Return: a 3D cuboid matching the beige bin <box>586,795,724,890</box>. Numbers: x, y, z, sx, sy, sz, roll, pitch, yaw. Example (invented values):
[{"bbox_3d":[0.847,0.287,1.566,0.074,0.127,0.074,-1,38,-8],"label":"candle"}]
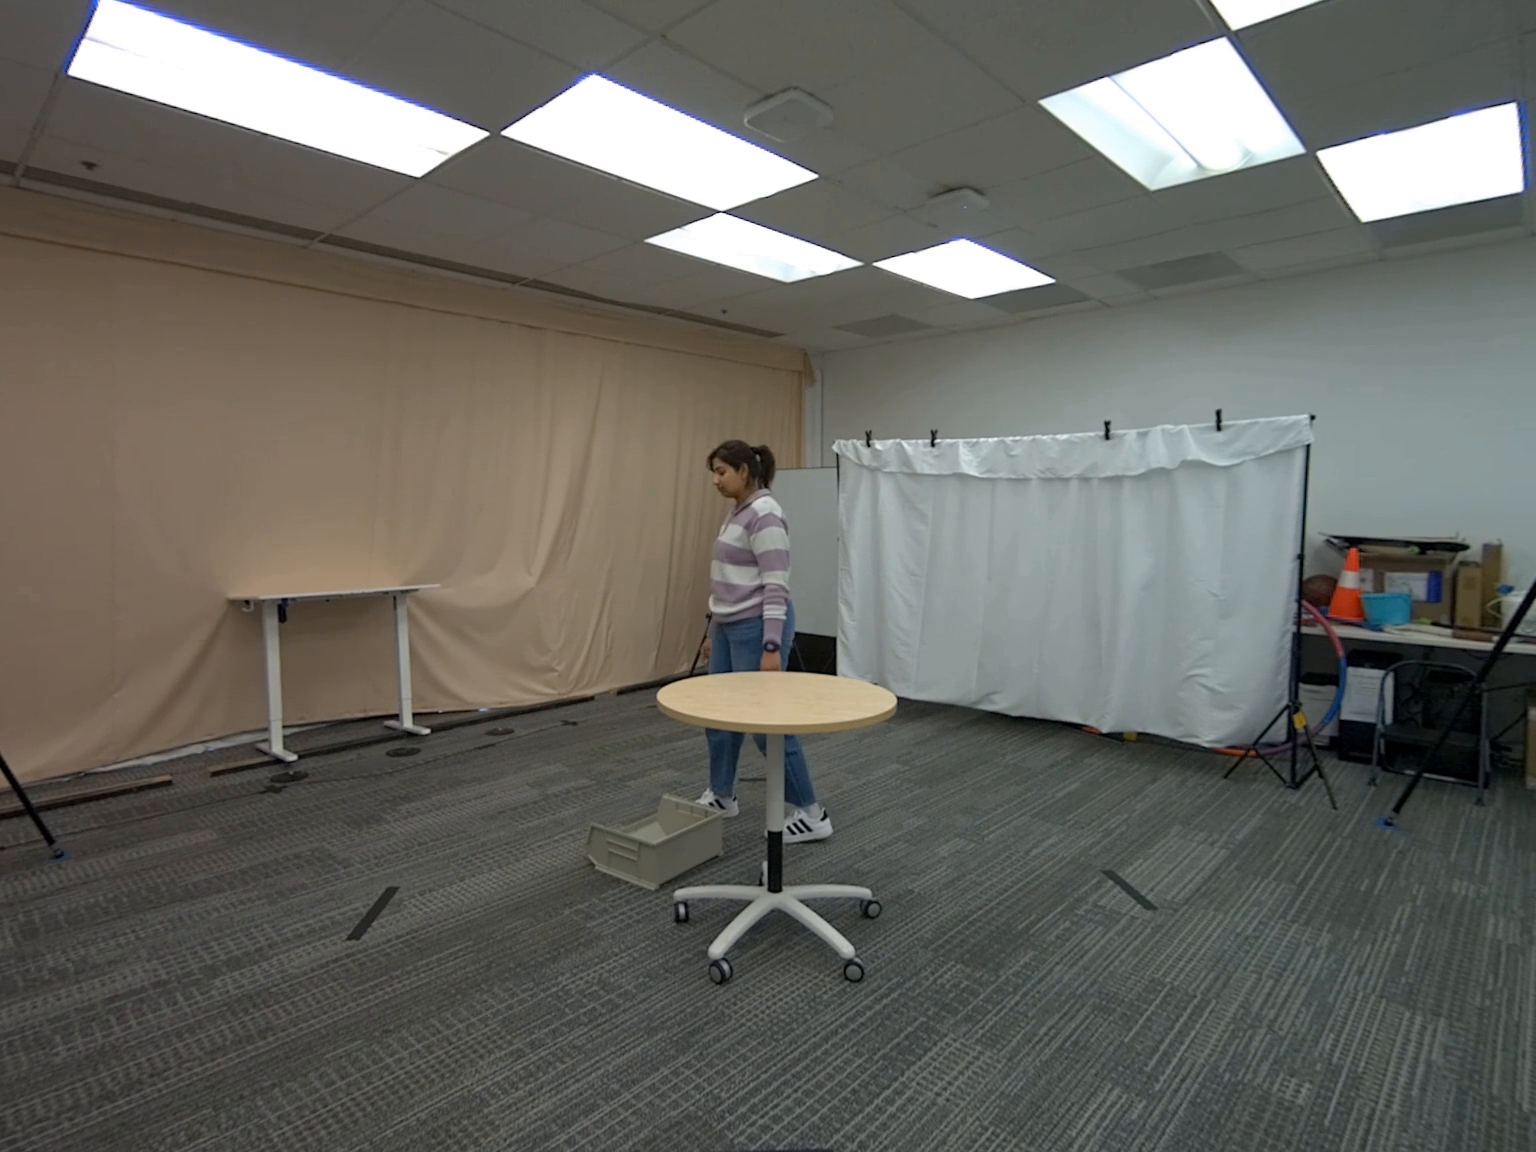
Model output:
[{"bbox_3d":[-0.438,1.029,3.315,0.390,0.188,0.410,4,6,37],"label":"beige bin"}]
